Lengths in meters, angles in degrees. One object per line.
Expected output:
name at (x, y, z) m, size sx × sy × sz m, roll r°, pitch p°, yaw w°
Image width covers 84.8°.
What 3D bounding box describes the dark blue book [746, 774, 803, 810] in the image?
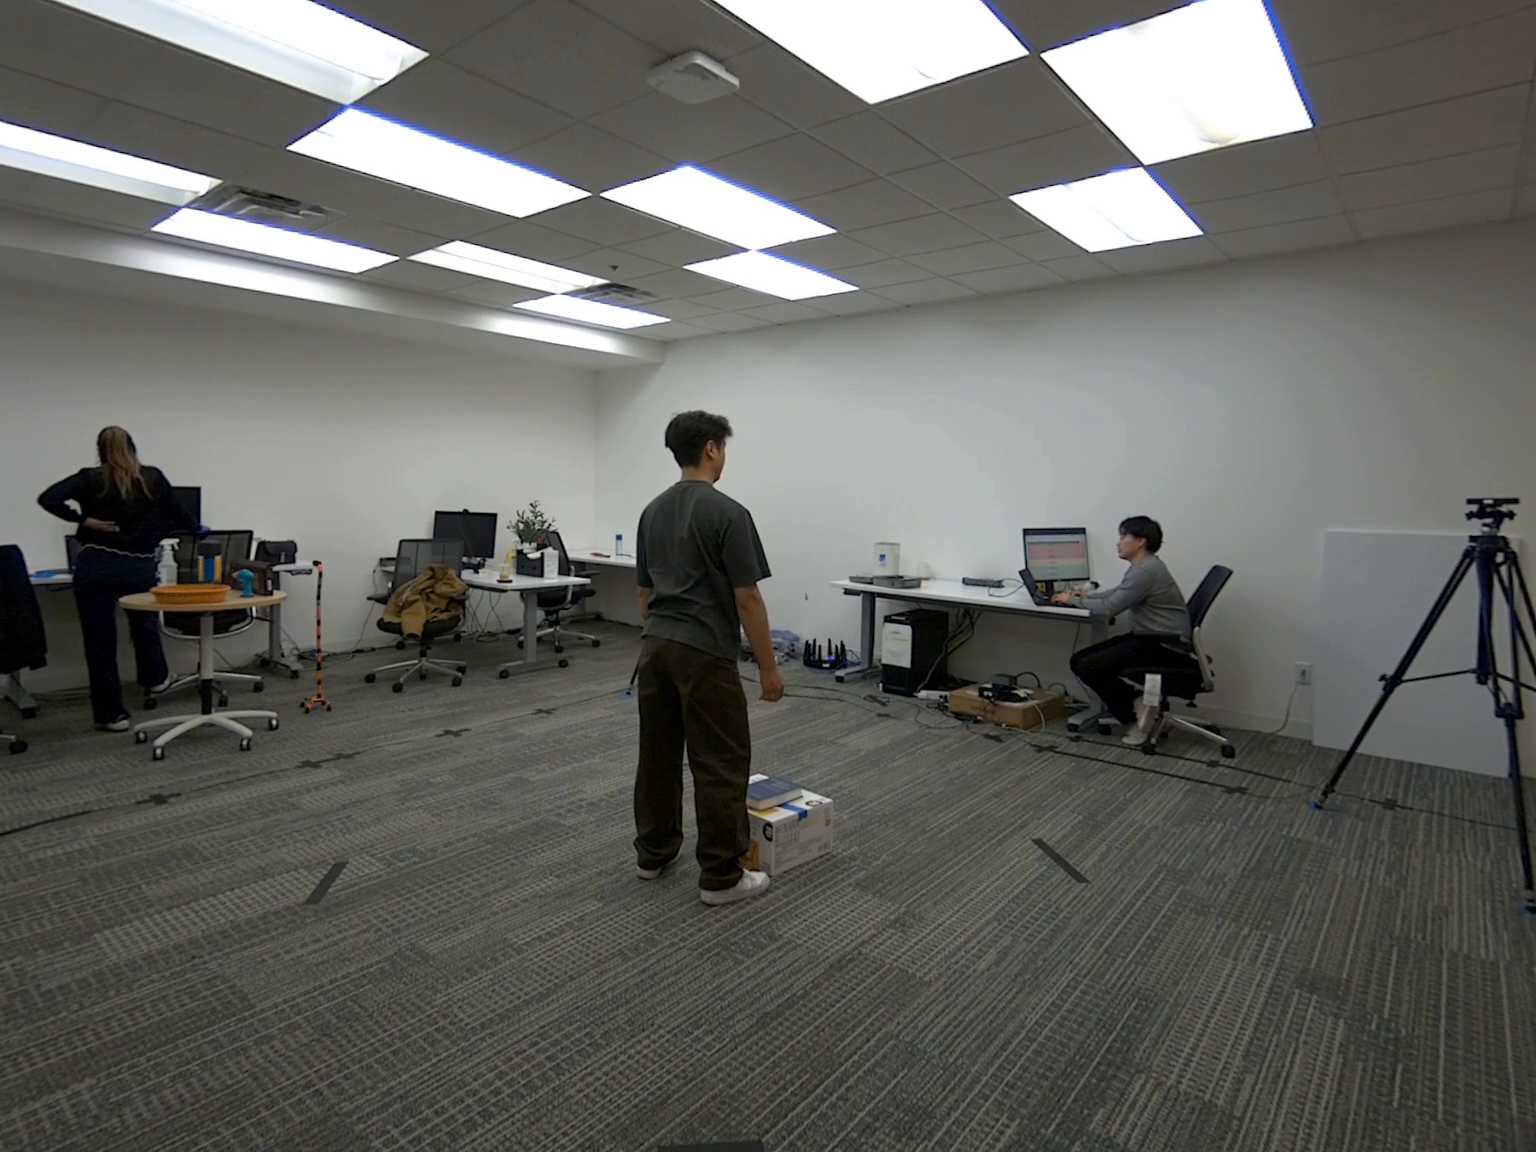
dark blue book at (-0.008, 0.839, 3.287) m, size 0.238 × 0.045 × 0.169 m, roll -4°, pitch 7°, yaw -44°
